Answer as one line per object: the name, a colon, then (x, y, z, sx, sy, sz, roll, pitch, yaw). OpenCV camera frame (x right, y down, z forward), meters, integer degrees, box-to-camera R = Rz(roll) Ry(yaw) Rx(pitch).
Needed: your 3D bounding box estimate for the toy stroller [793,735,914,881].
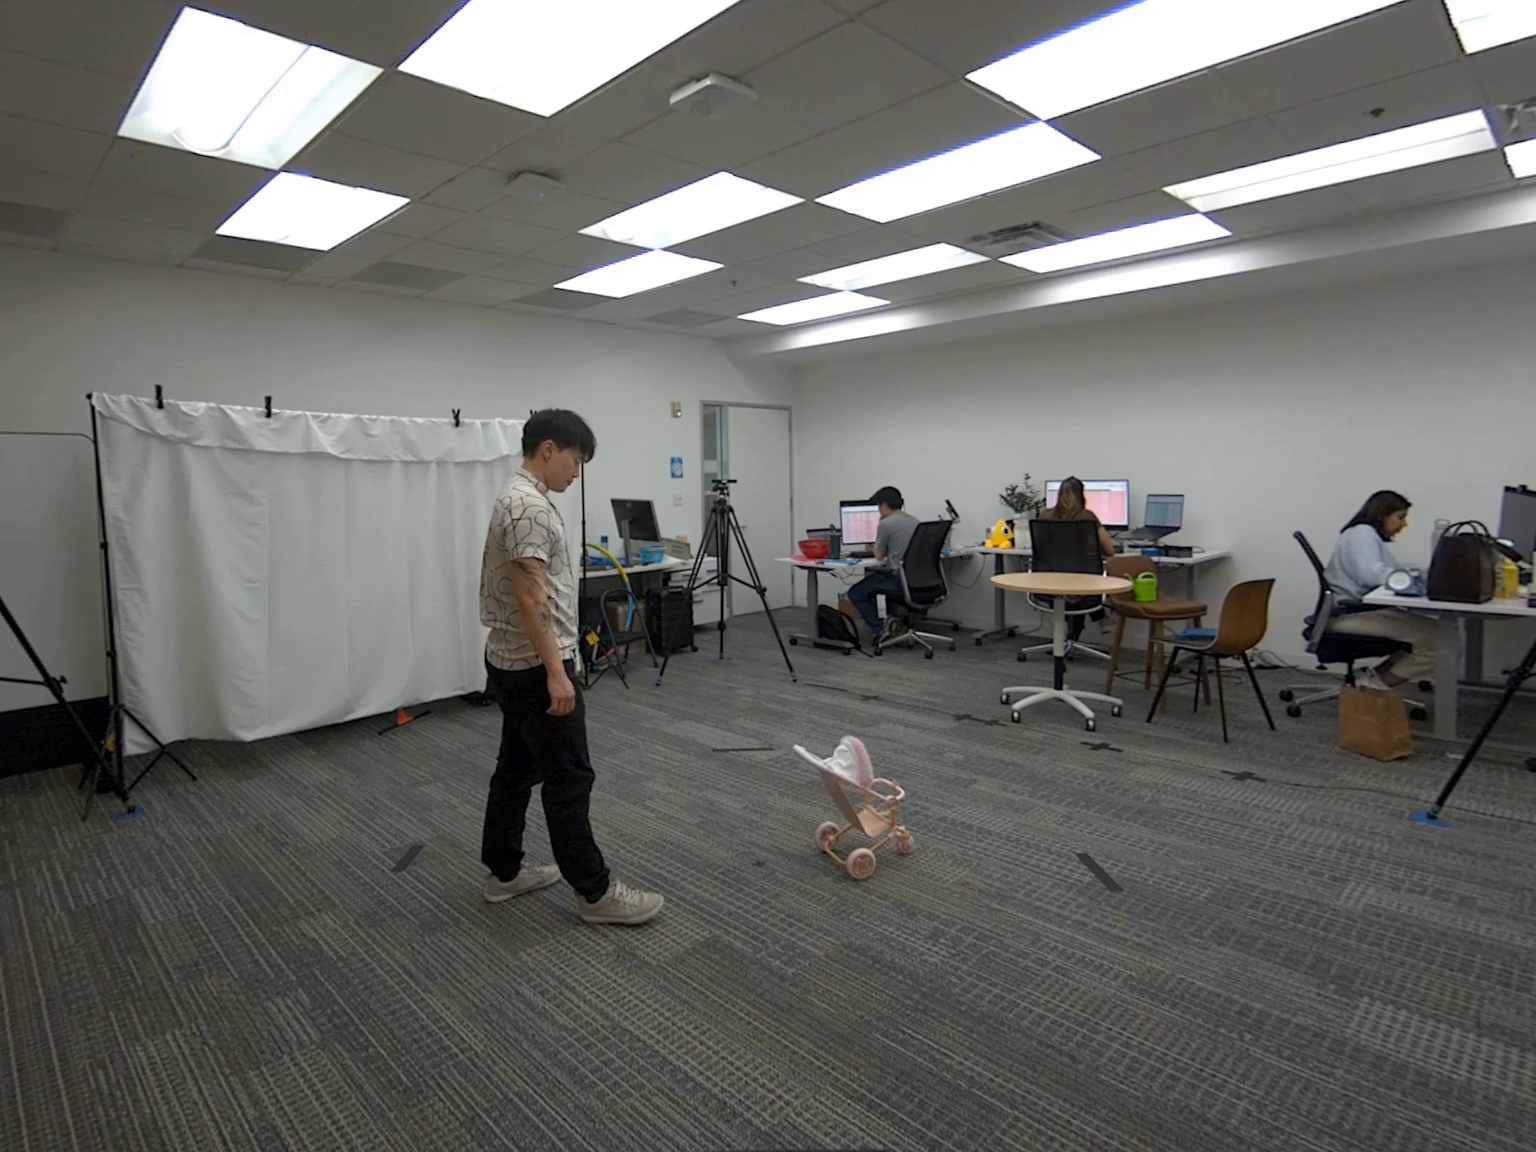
toy stroller: (0.332, 0.816, 3.098, 0.338, 0.530, 0.287, -19, 9, -15)
